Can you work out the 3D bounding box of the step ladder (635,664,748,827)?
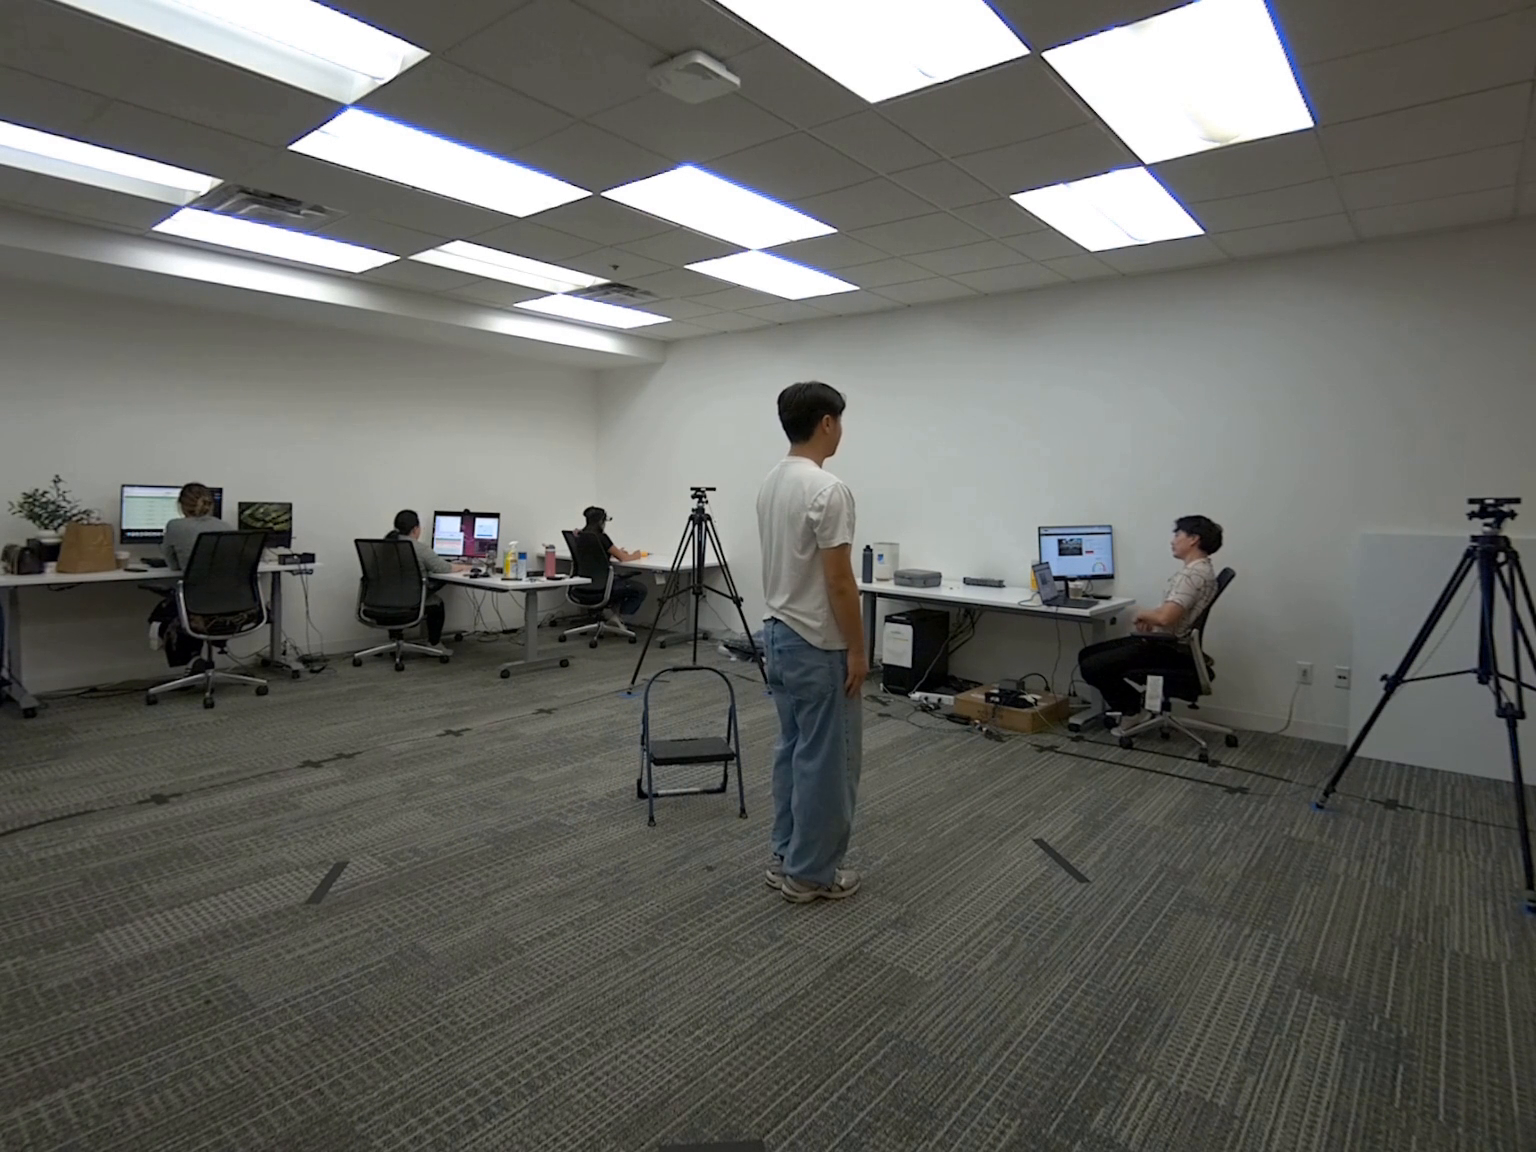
[{"bbox_3d":[-0.343,0.707,3.693,0.423,0.604,0.356,0,3,-17],"label":"step ladder"}]
